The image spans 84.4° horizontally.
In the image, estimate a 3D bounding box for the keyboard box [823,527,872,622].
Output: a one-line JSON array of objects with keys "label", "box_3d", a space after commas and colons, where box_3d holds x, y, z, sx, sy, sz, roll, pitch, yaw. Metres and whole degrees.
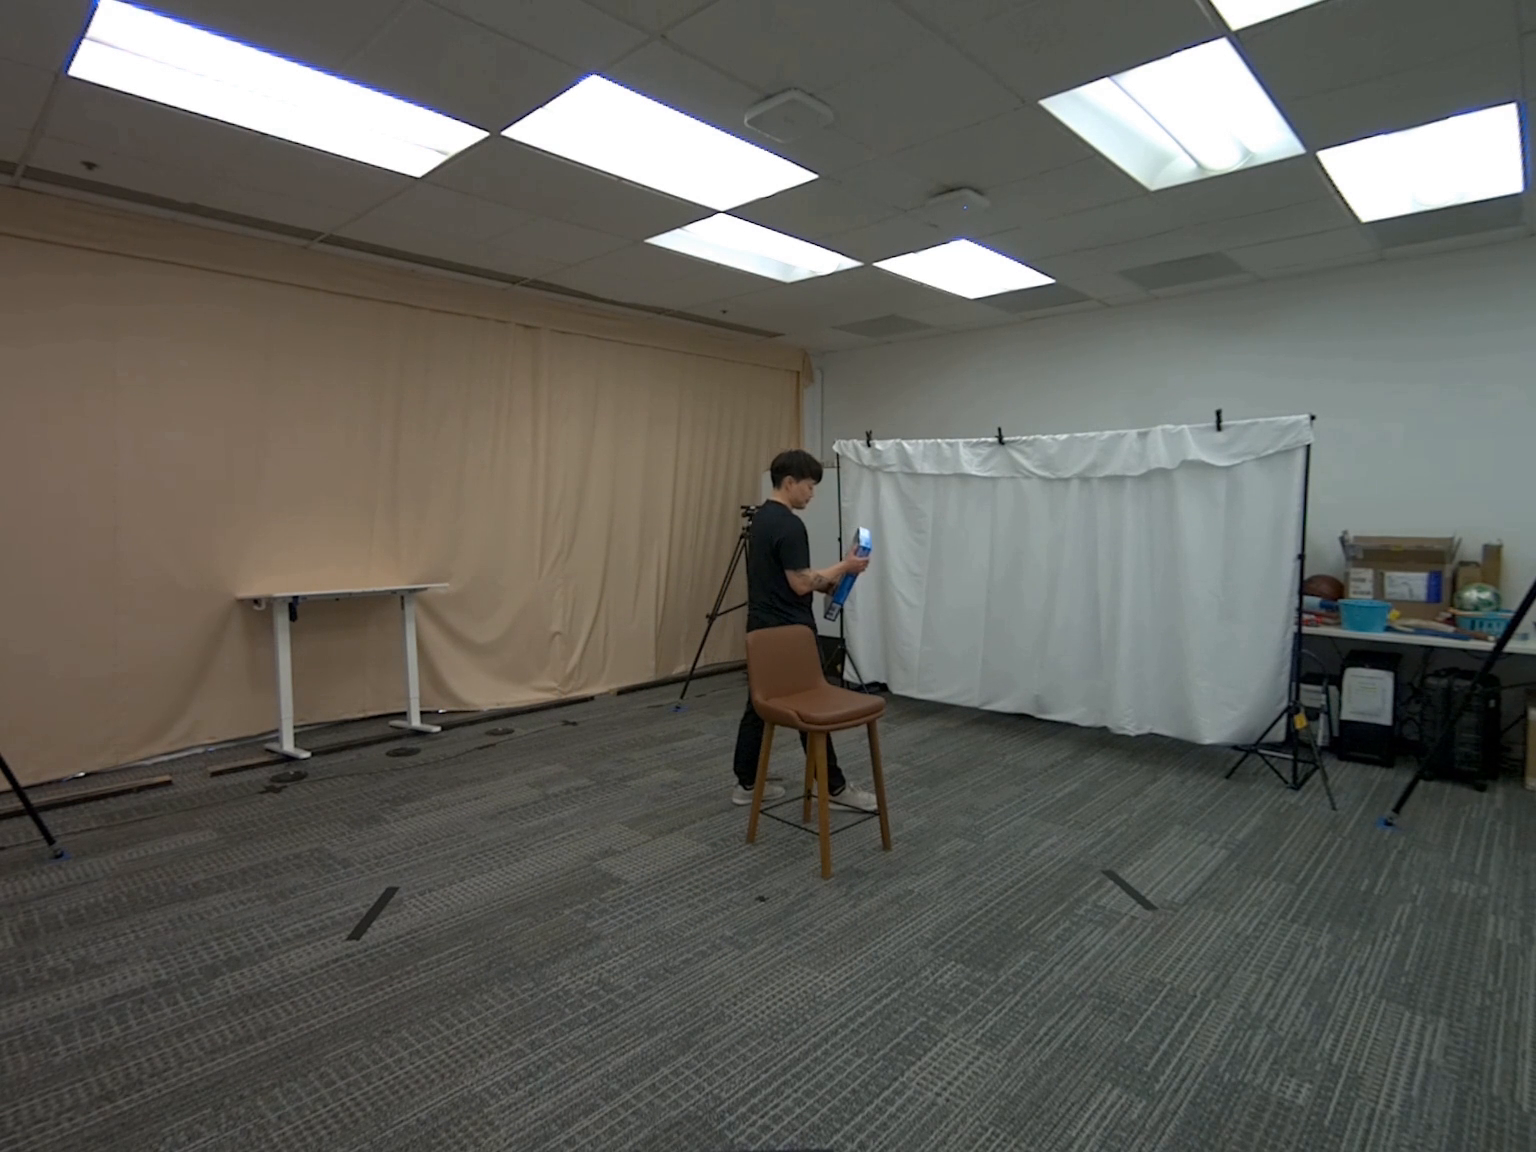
[{"label": "keyboard box", "box_3d": [0.375, -0.007, 3.961, 0.059, 0.435, 0.178, 19, 32, -8]}]
